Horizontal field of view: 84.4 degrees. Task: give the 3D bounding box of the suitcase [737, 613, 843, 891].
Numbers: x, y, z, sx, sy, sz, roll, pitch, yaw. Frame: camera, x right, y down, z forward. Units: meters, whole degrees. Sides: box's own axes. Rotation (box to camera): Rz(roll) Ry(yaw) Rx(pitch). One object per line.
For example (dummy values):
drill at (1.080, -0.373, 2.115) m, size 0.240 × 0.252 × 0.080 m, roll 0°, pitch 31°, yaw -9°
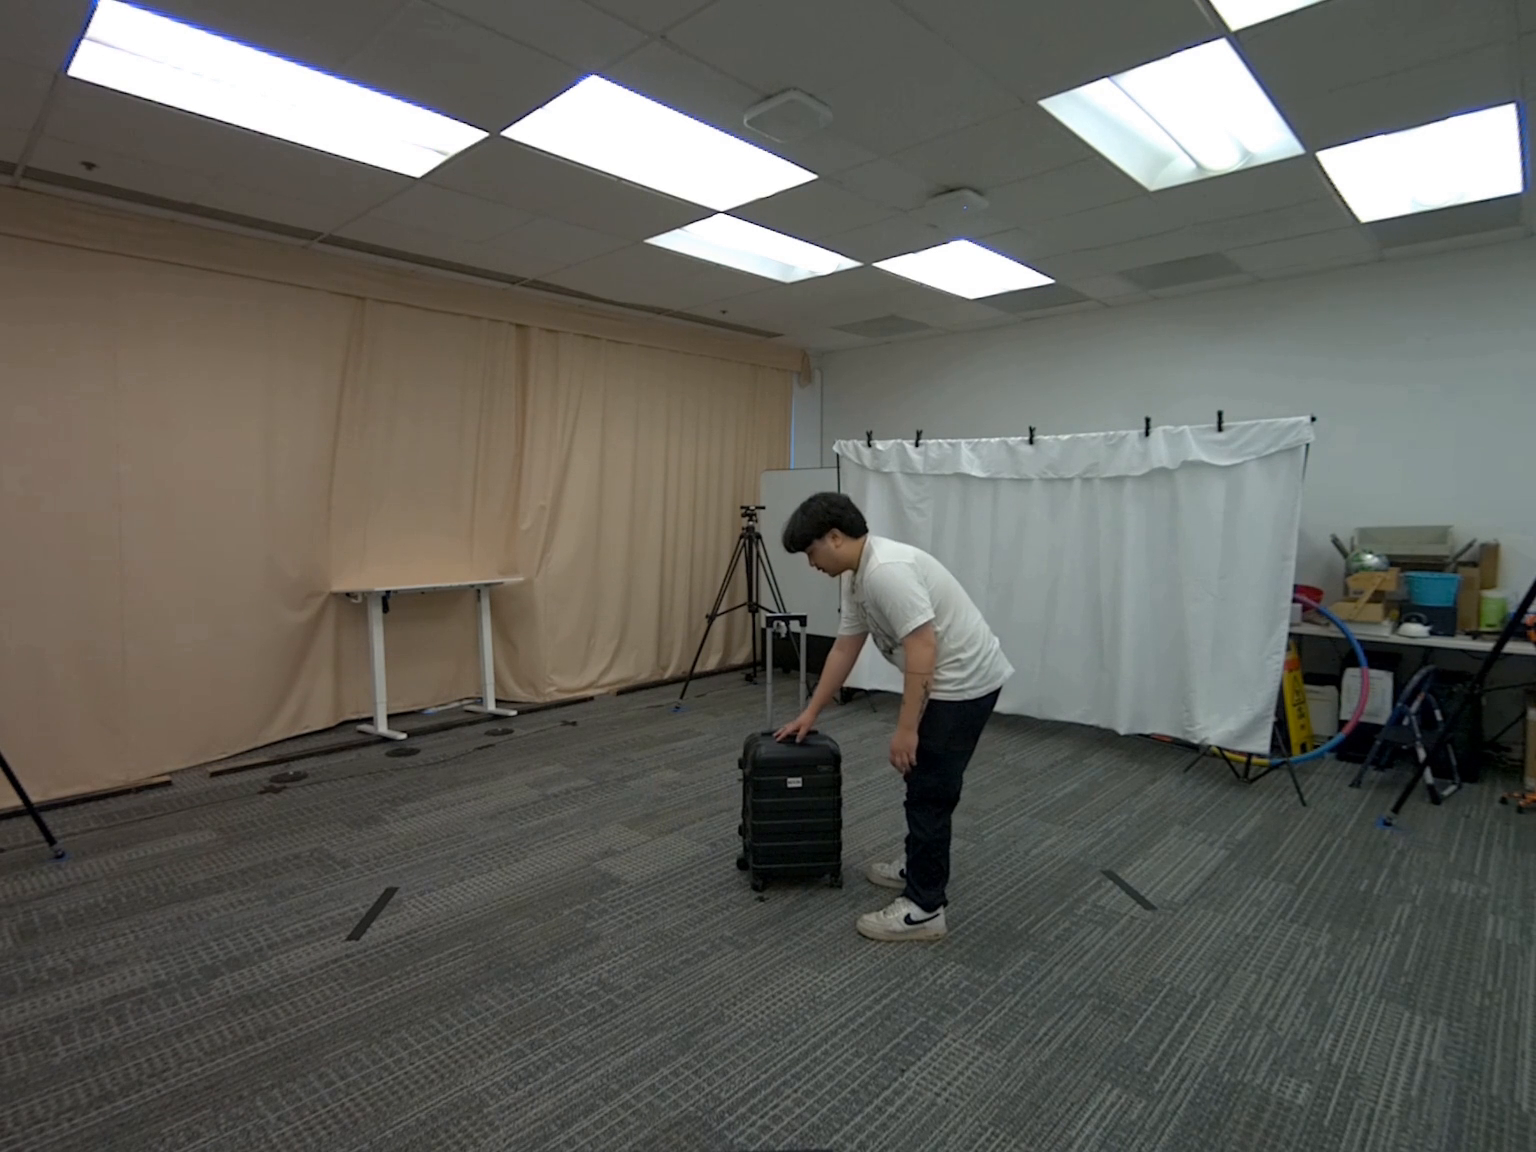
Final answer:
suitcase at (0.093, 0.659, 3.113) m, size 0.382 × 0.974 × 0.260 m, roll 0°, pitch 7°, yaw -6°
